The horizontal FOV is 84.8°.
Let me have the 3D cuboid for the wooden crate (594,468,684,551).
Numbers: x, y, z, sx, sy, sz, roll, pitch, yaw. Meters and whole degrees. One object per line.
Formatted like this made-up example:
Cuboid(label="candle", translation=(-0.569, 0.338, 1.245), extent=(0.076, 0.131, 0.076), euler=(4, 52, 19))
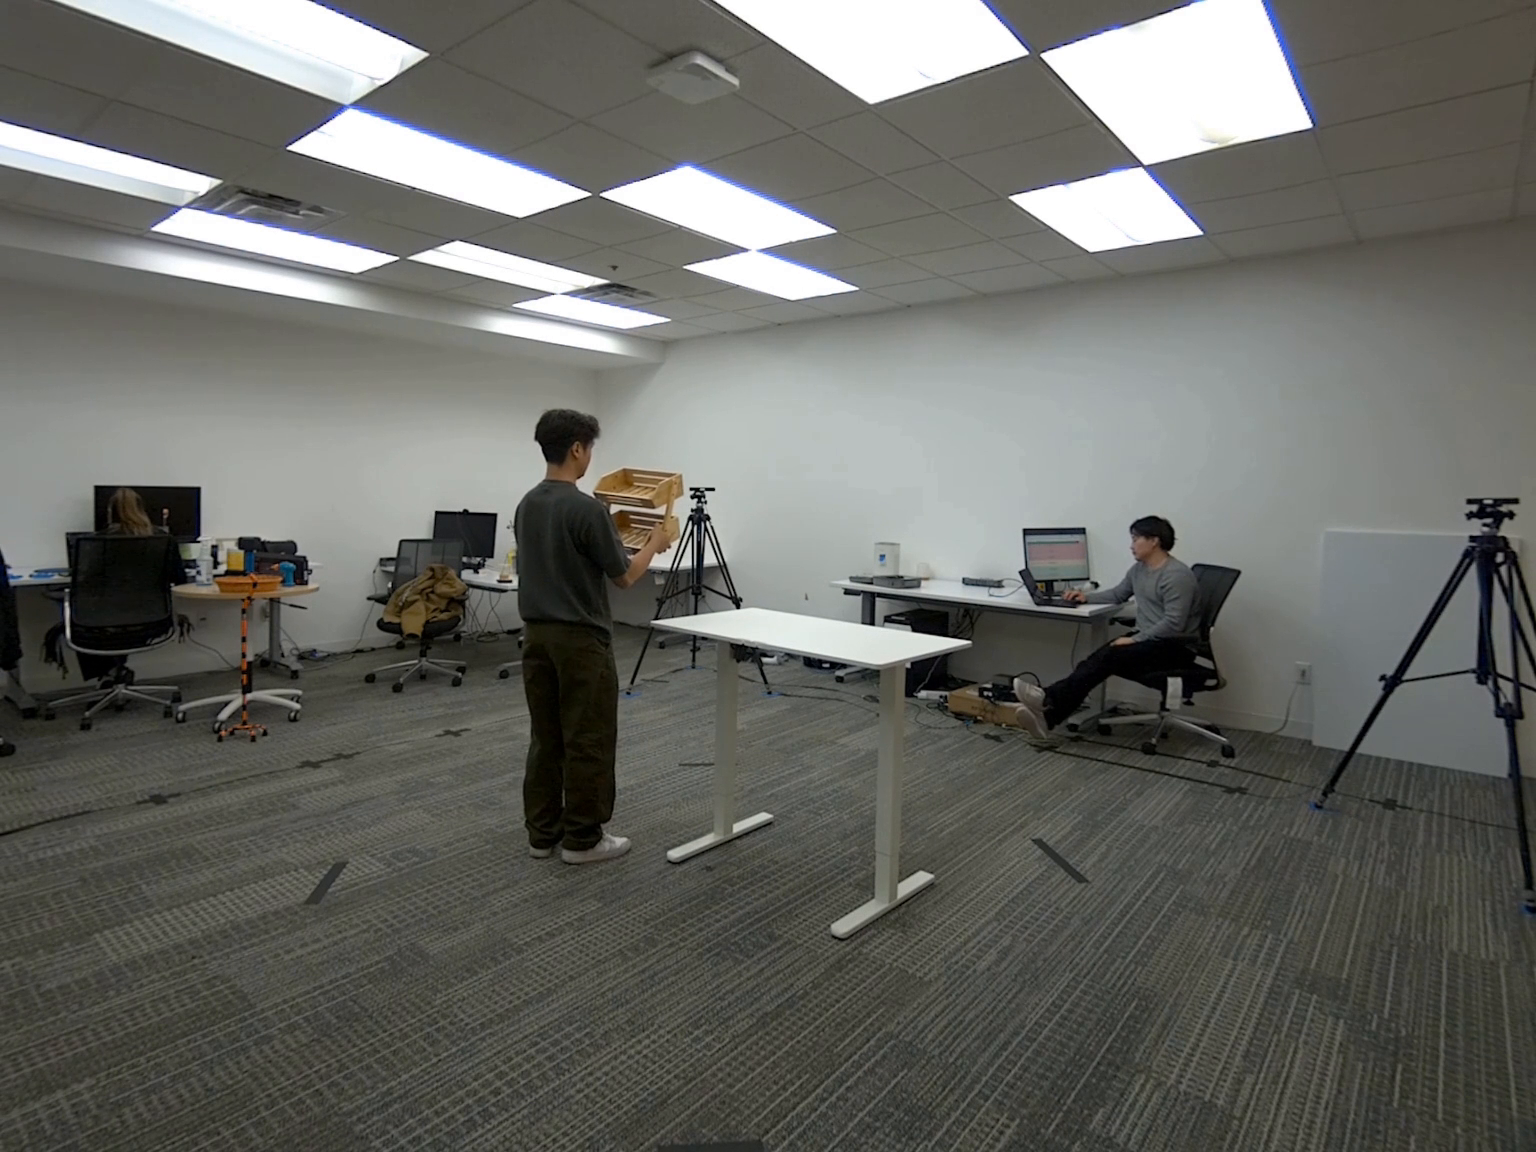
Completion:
Cuboid(label="wooden crate", translation=(-0.558, -0.269, 3.428), extent=(0.335, 0.268, 0.299), euler=(10, 25, 30))
